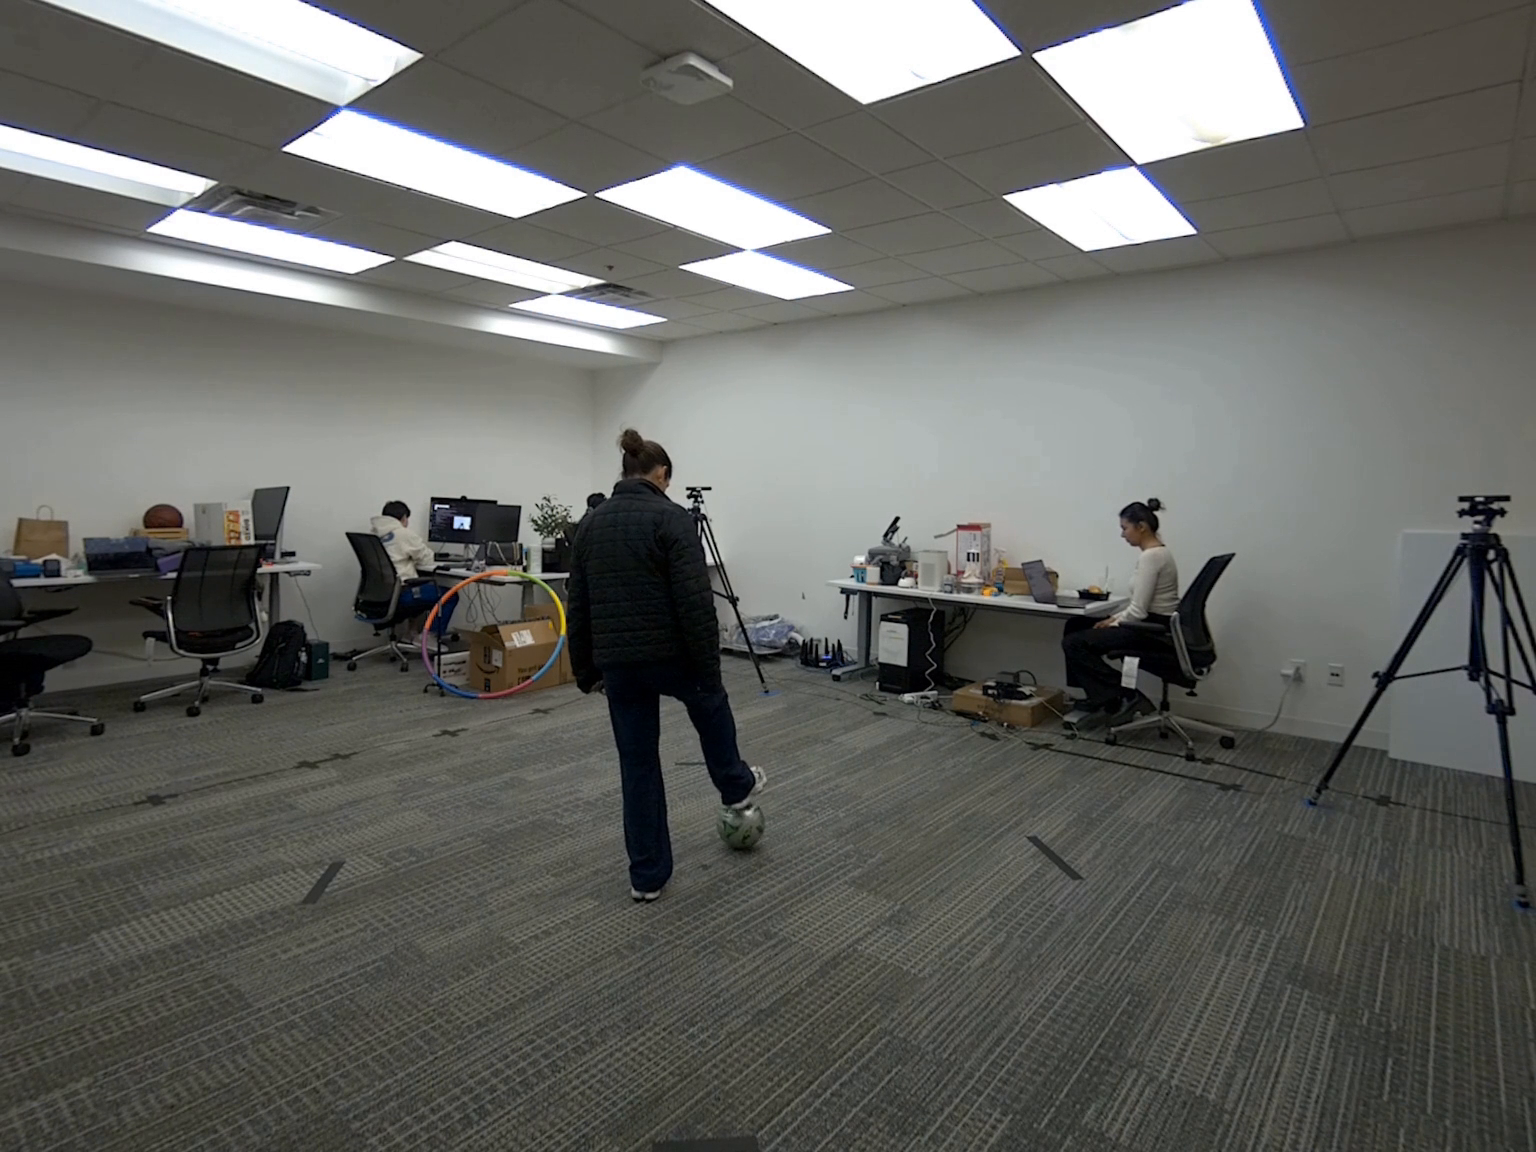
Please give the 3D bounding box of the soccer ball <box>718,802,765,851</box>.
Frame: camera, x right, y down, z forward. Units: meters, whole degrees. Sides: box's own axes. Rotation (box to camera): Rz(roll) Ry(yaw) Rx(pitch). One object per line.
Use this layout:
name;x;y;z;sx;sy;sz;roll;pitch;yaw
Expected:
soccer ball;-0.113;0.954;3.294;0.187;0.187;0.188;1;4;-2
